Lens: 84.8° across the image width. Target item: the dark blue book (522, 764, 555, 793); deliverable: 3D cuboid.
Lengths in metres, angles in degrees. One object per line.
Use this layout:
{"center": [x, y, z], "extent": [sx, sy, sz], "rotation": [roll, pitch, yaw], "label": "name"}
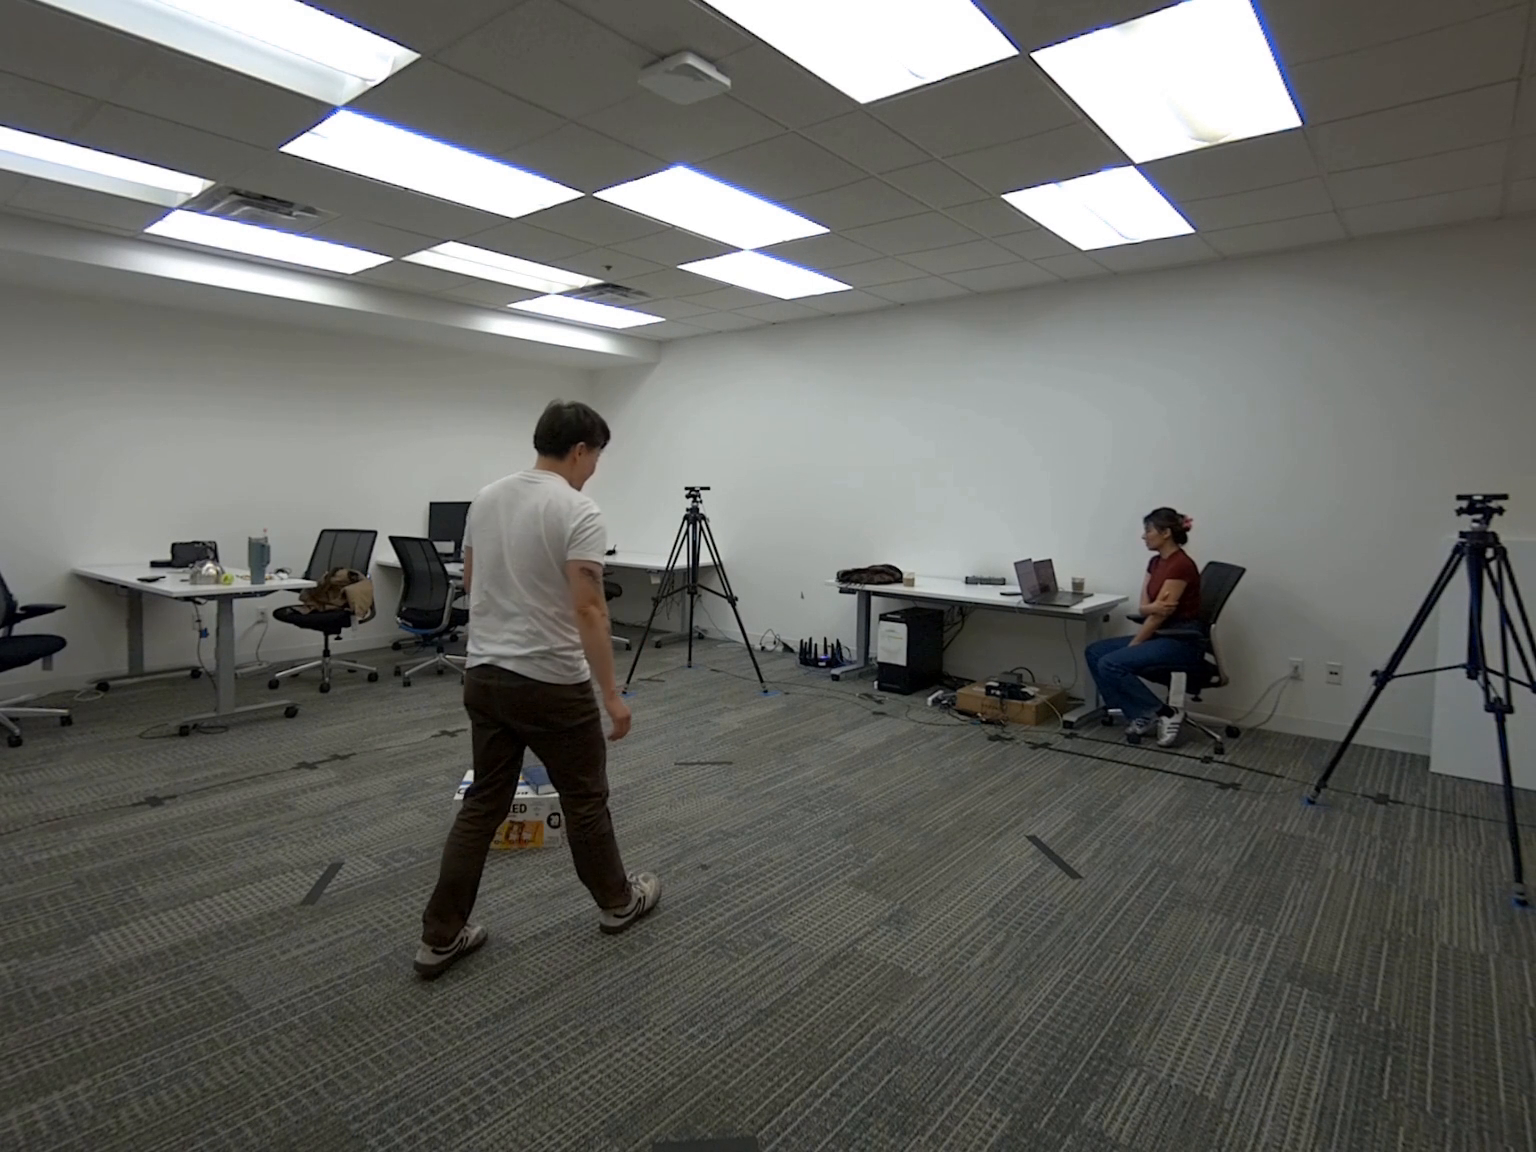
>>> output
{"center": [-0.891, 0.803, 3.410], "extent": [0.159, 0.045, 0.252], "rotation": [-6, 7, -29], "label": "dark blue book"}
